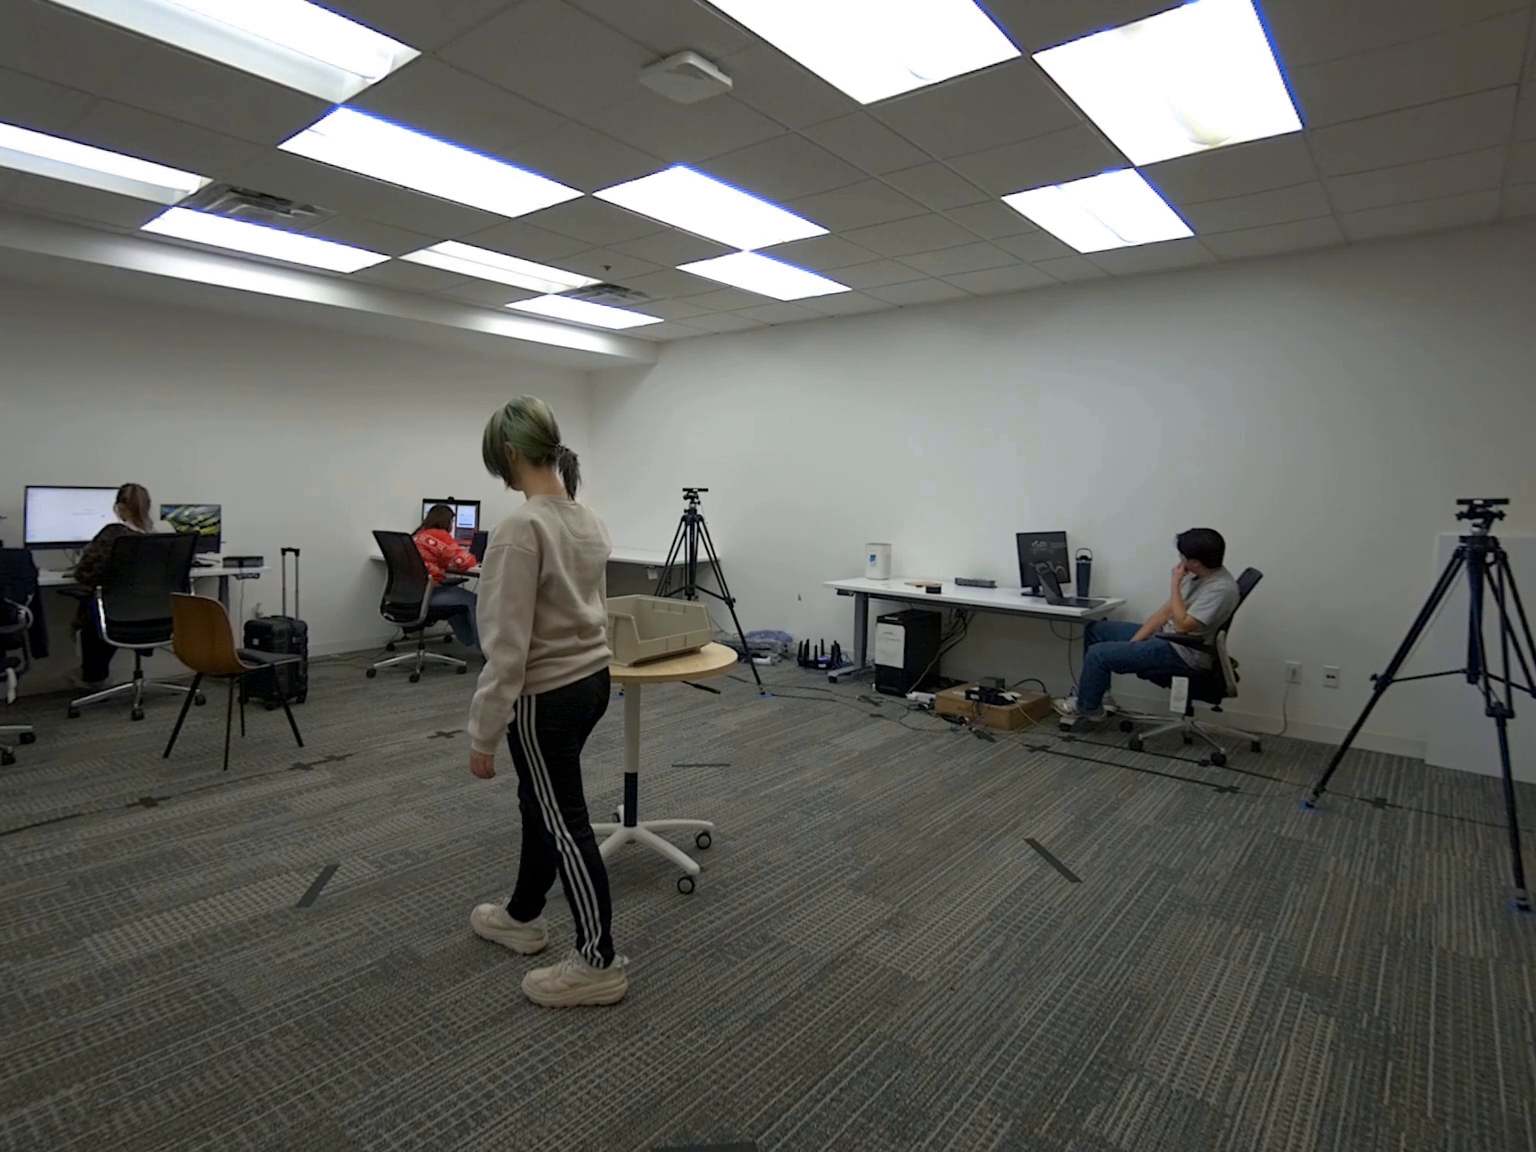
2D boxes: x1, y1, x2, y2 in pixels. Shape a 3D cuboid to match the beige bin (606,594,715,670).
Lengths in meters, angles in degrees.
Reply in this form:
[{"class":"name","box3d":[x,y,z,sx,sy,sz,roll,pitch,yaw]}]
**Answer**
[{"class":"beige bin","box3d":[-0.478,0.192,3.098,0.389,0.188,0.411,3,6,35]}]
